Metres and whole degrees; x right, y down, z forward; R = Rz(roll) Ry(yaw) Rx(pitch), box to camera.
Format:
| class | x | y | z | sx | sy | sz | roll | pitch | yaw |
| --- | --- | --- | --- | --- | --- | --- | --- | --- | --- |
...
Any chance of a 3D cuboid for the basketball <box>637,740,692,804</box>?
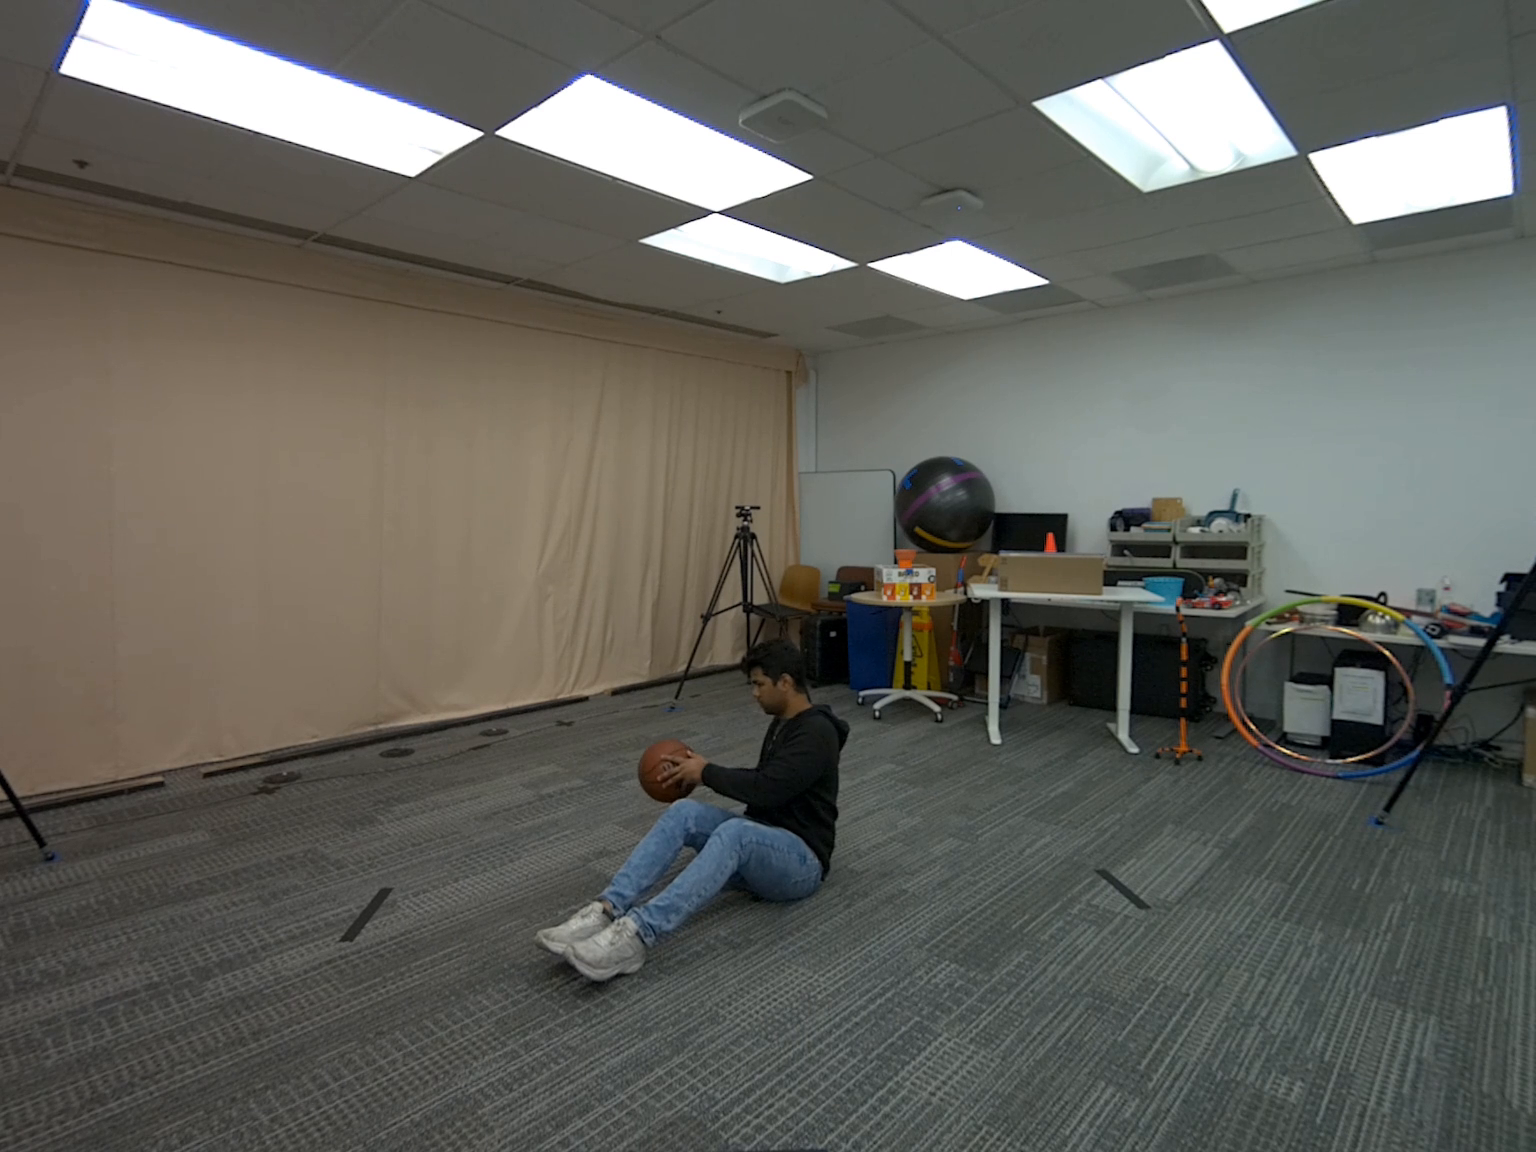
| class | x | y | z | sx | sy | sz | roll | pitch | yaw |
| --- | --- | --- | --- | --- | --- | --- | --- | --- | --- |
| basketball | -0.364 | 0.761 | 3.241 | 0.236 | 0.235 | 0.237 | 0 | 4 | -2 |
